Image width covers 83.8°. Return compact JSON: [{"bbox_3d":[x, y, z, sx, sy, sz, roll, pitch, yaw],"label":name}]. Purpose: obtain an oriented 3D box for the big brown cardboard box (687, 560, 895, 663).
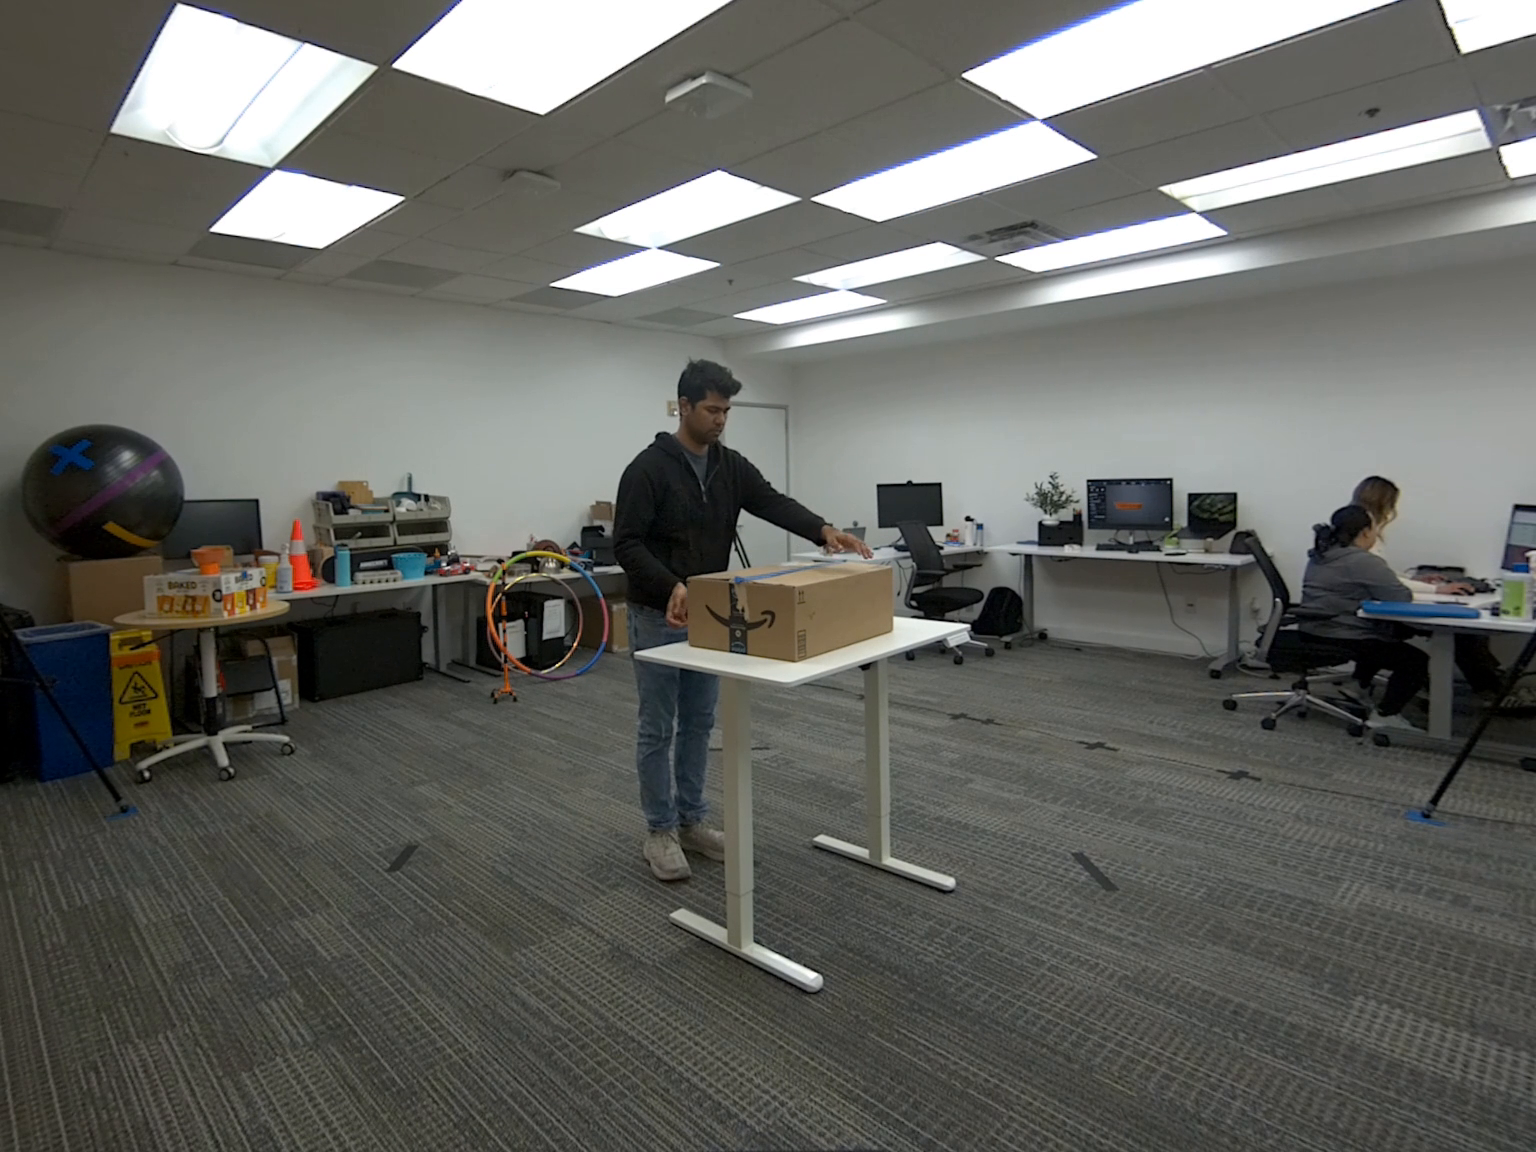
[{"bbox_3d":[0.079,0.092,2.742,0.430,0.232,0.575,3,9,39],"label":"big brown cardboard box"}]
